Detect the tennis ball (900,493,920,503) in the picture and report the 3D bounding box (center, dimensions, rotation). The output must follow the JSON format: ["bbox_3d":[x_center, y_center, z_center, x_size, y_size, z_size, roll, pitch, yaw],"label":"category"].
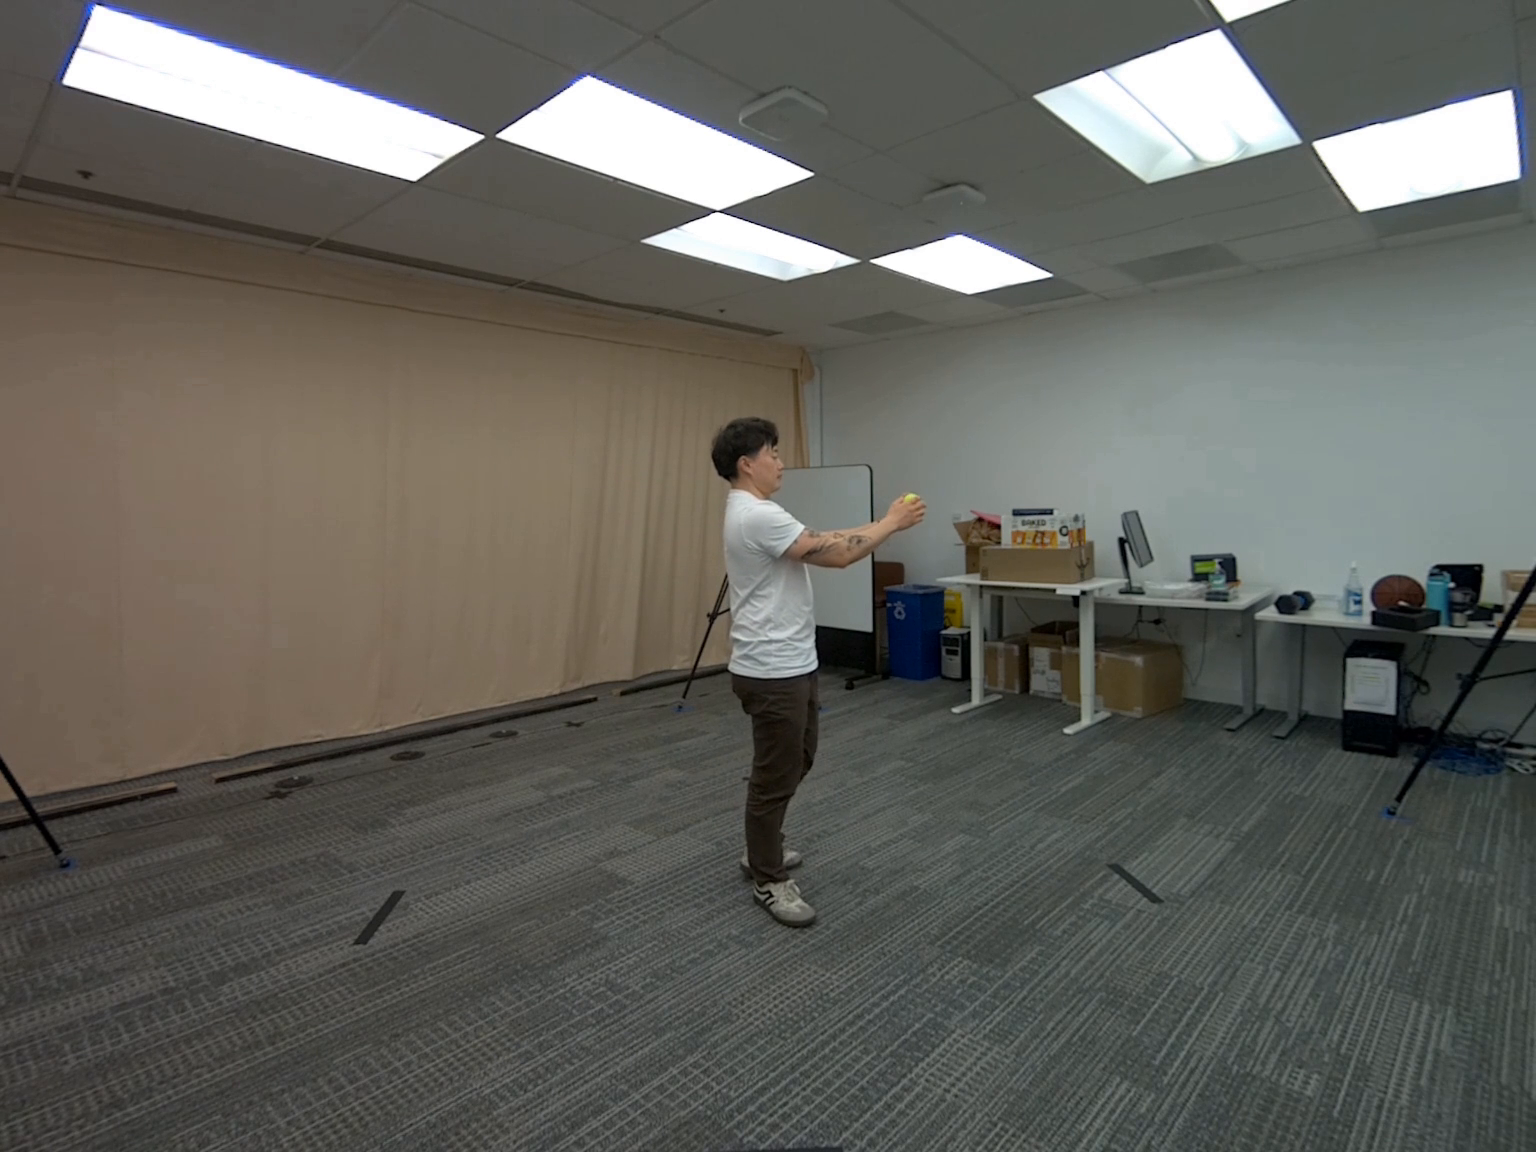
[{"bbox_3d":[0.456,-0.269,2.926,0.066,0.066,0.067,-1,4,-2],"label":"tennis ball"}]
